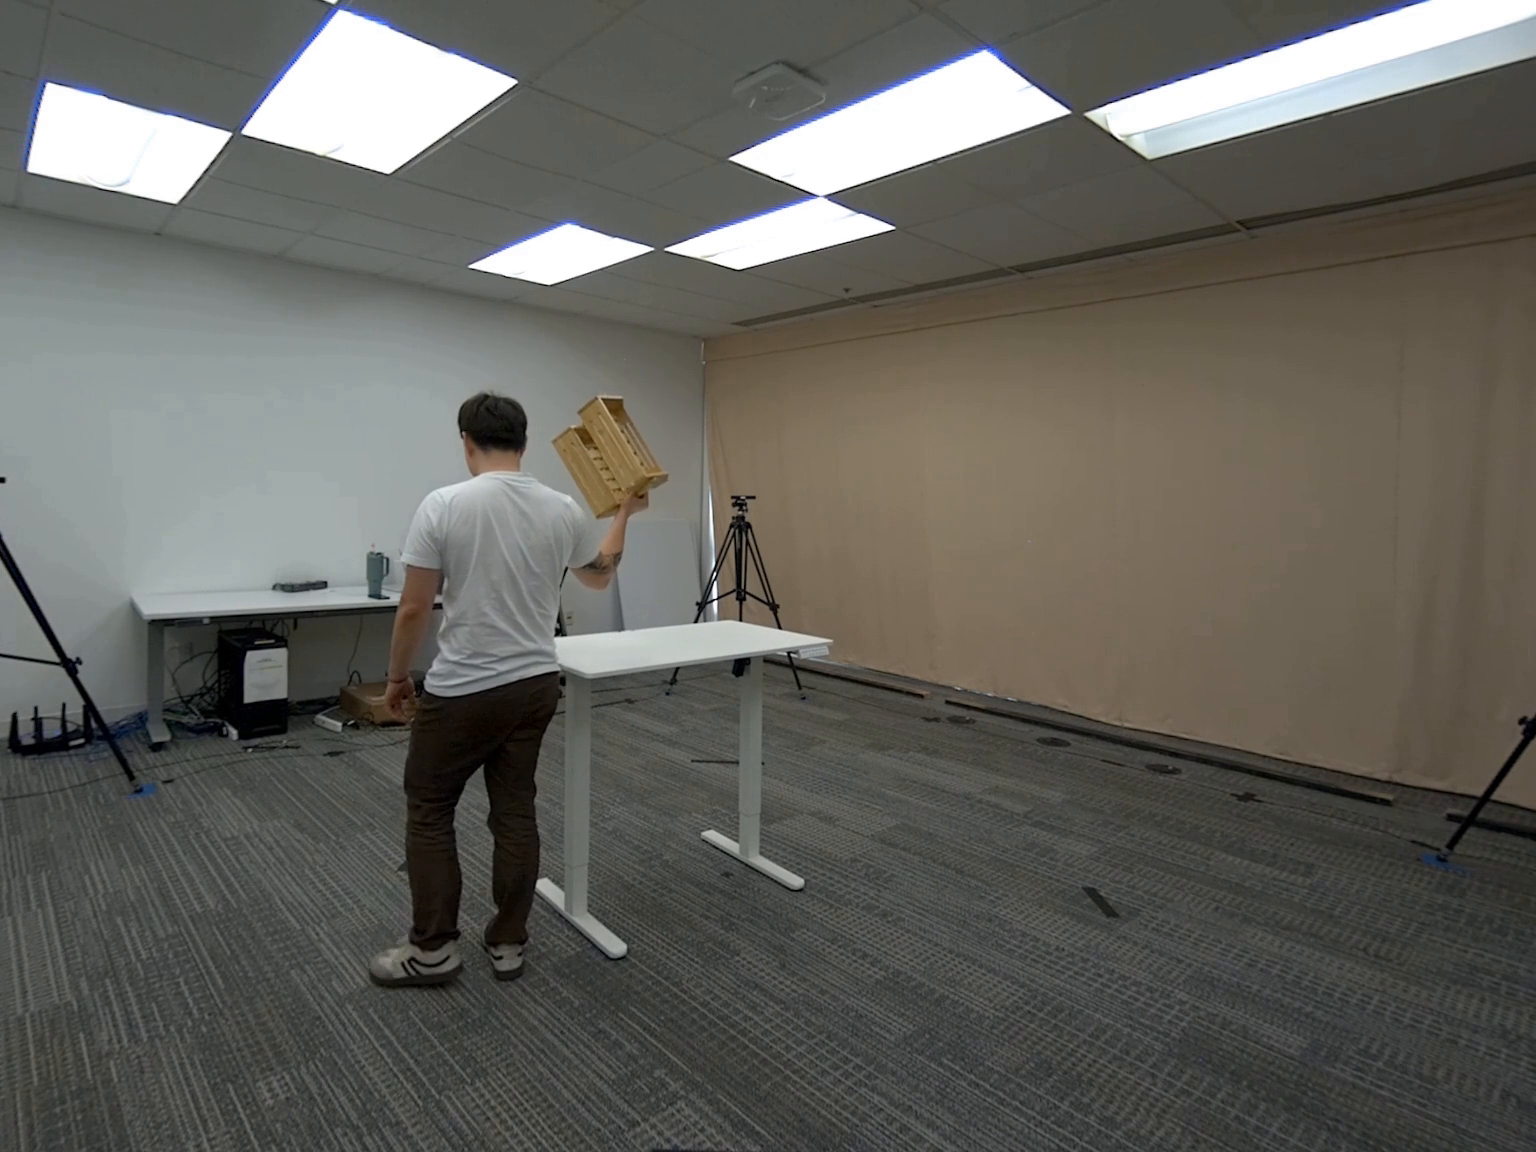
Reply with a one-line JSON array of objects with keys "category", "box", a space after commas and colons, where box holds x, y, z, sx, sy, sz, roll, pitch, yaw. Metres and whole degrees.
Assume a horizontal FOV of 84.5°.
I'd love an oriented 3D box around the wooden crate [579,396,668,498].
[{"category": "wooden crate", "box": [-0.506, -0.396, 2.767, 0.275, 0.326, 0.298, -33, -6, 26]}]
